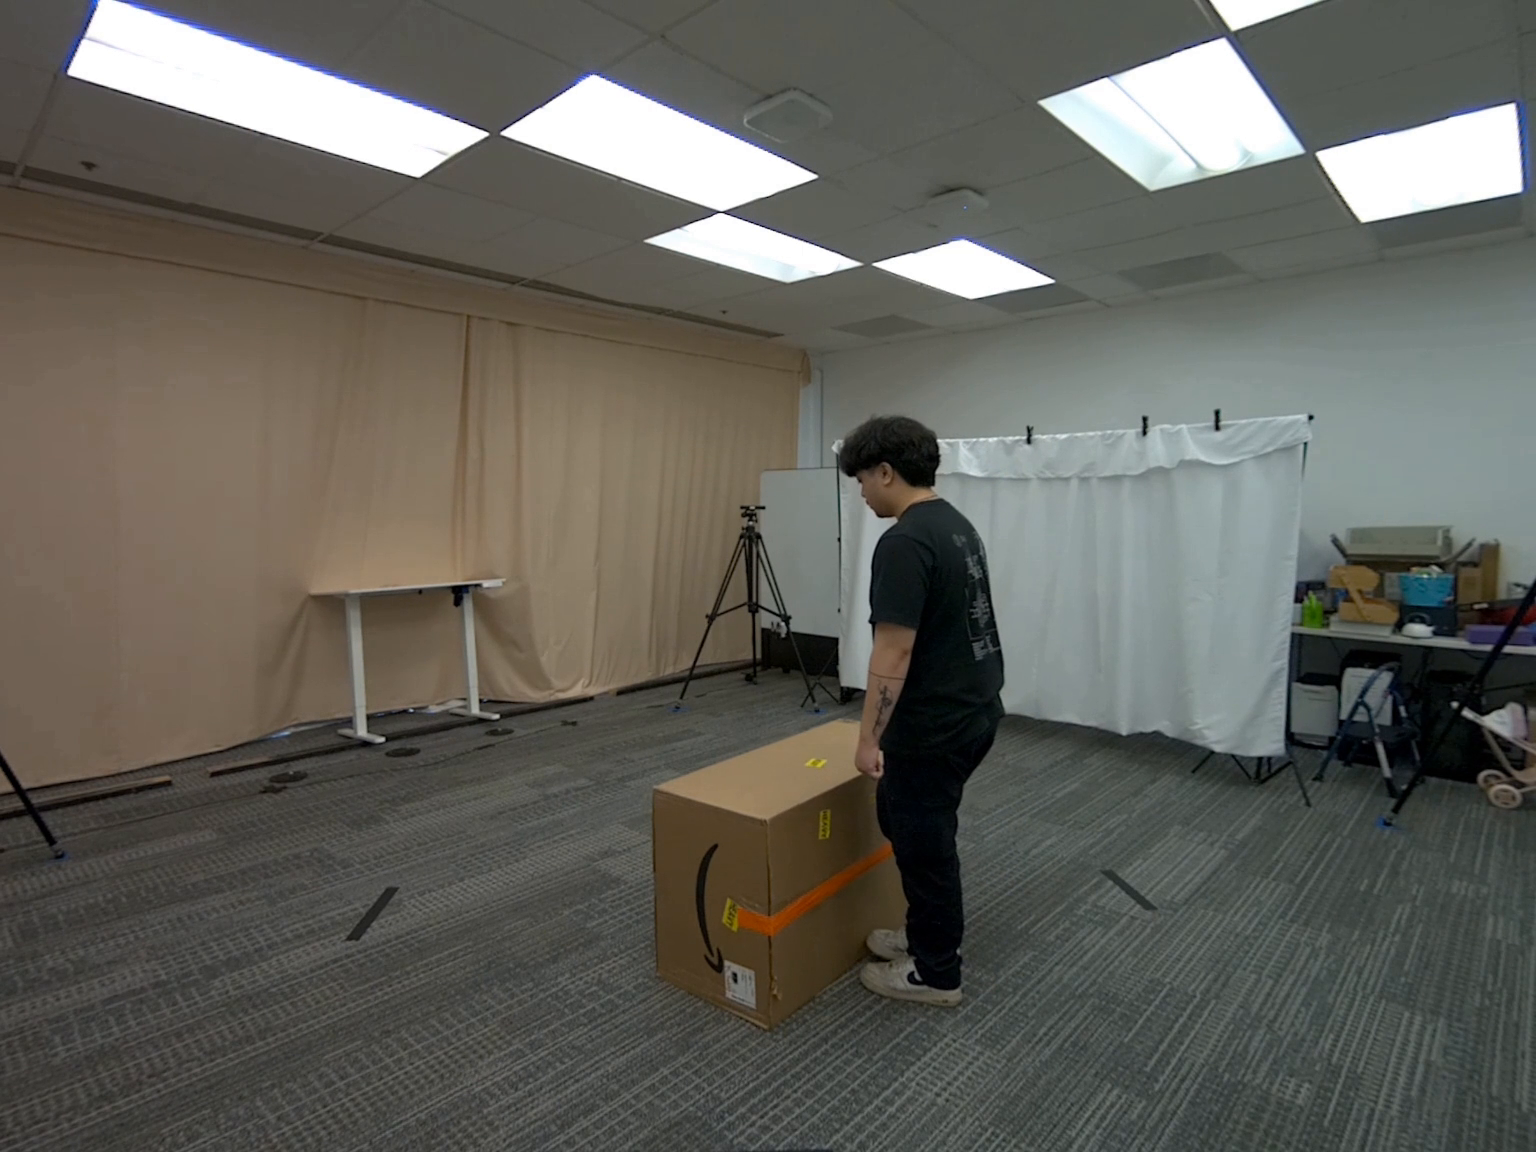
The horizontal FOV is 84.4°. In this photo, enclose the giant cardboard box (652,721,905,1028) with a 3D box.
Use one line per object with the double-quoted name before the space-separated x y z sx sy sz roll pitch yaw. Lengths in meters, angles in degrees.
"giant cardboard box" 0.141 0.880 2.730 0.461 0.582 0.997 4 7 38
